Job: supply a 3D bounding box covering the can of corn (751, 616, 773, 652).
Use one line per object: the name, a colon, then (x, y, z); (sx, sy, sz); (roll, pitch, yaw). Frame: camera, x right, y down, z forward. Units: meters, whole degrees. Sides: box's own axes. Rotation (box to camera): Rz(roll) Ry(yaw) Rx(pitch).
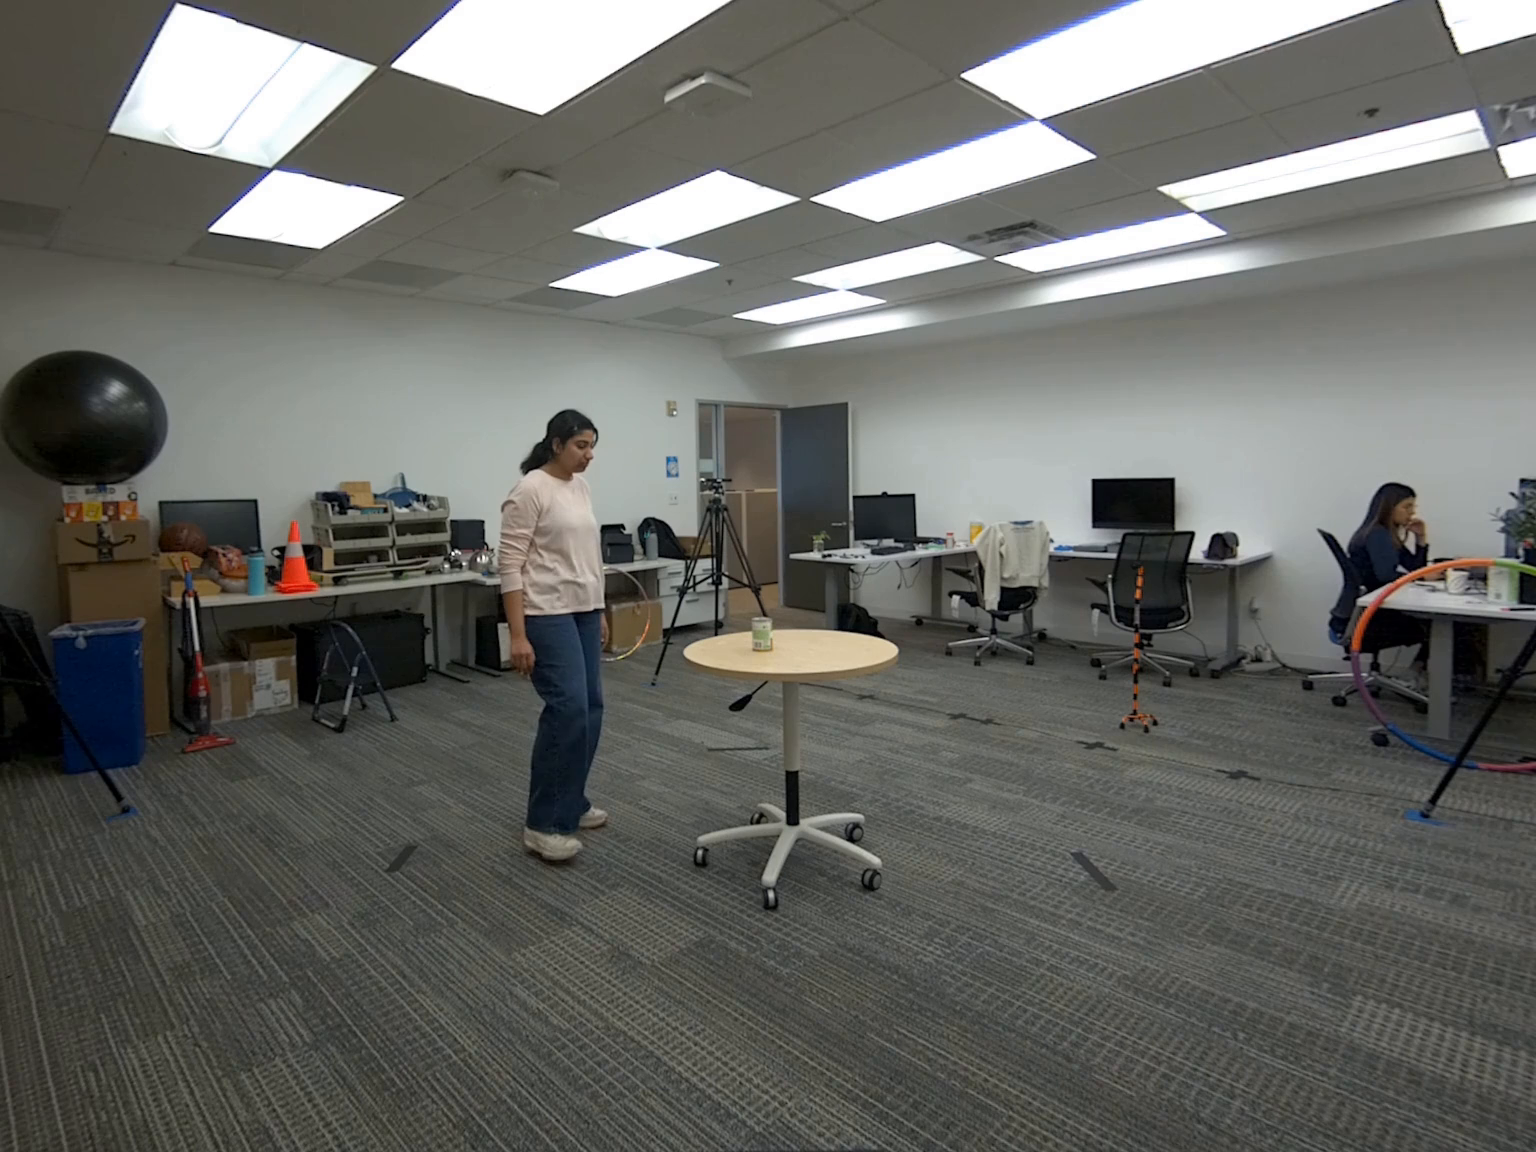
can of corn: (-0.020, 0.208, 3.056); (0.074, 0.111, 0.074); (-3, 2, -2)
